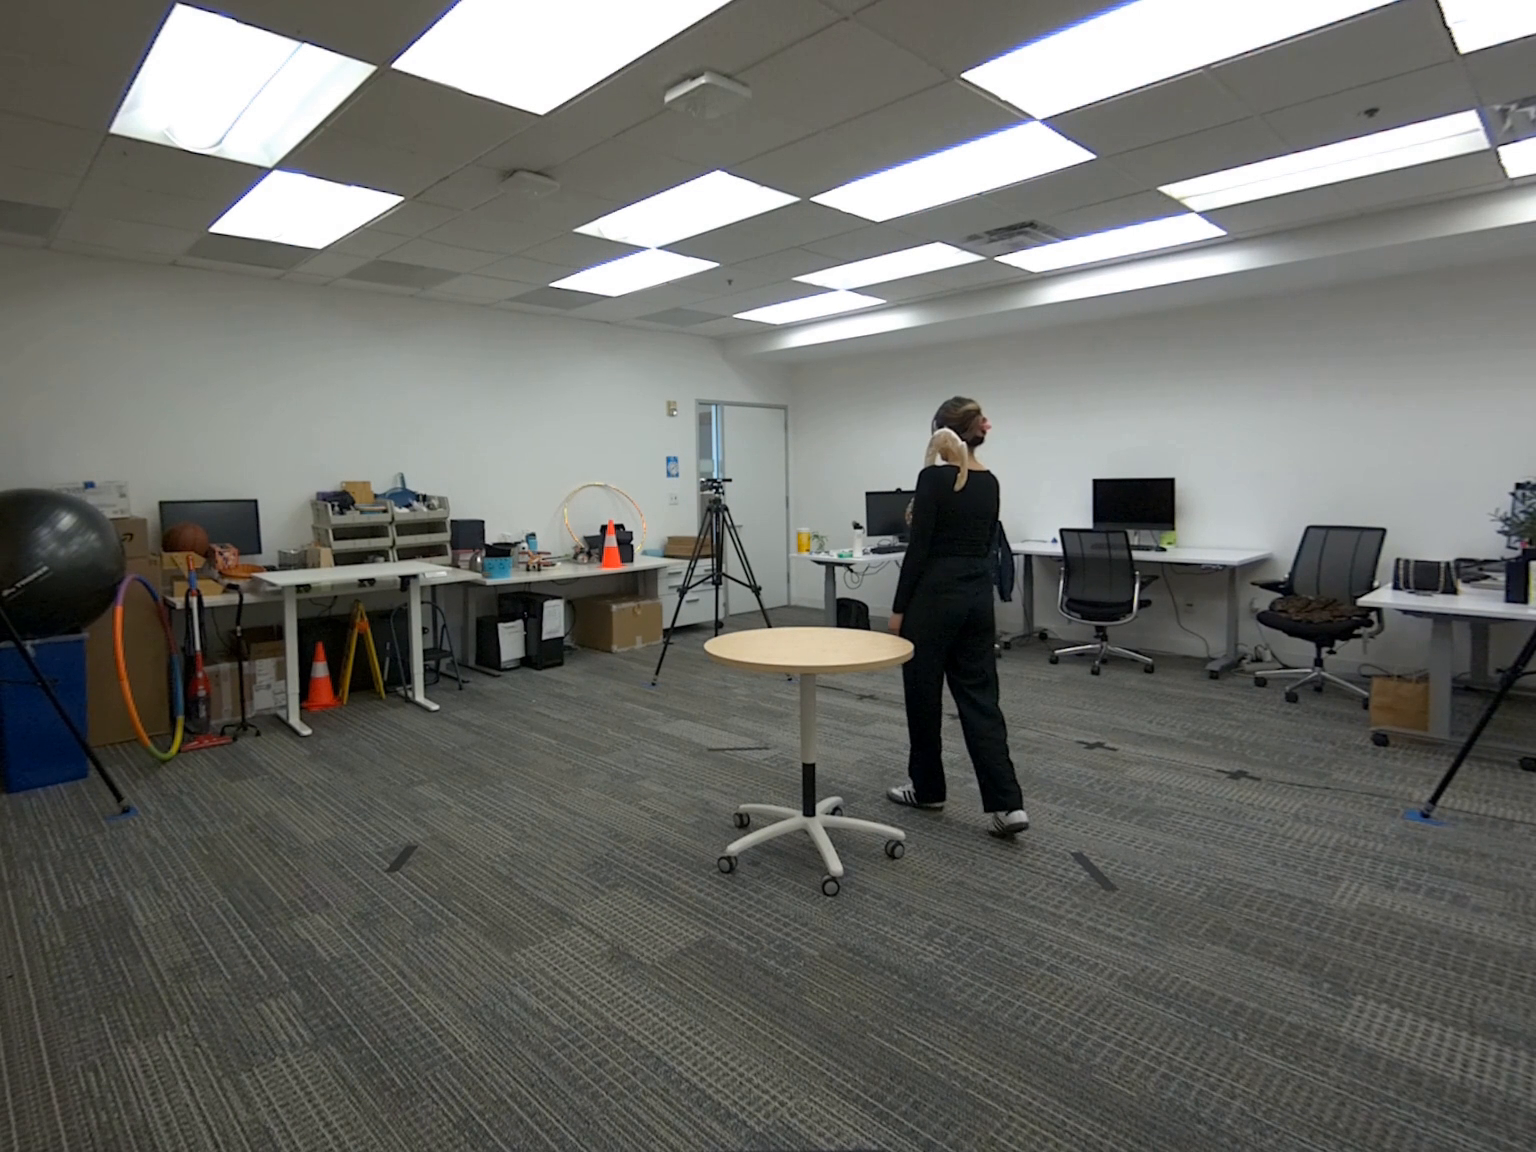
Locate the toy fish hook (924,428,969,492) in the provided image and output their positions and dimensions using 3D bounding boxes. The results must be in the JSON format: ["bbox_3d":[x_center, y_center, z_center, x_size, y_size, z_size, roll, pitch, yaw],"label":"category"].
[{"bbox_3d":[0.677,-0.348,3.374,0.047,0.496,0.233,-12,48,-23],"label":"toy fish hook"}]
